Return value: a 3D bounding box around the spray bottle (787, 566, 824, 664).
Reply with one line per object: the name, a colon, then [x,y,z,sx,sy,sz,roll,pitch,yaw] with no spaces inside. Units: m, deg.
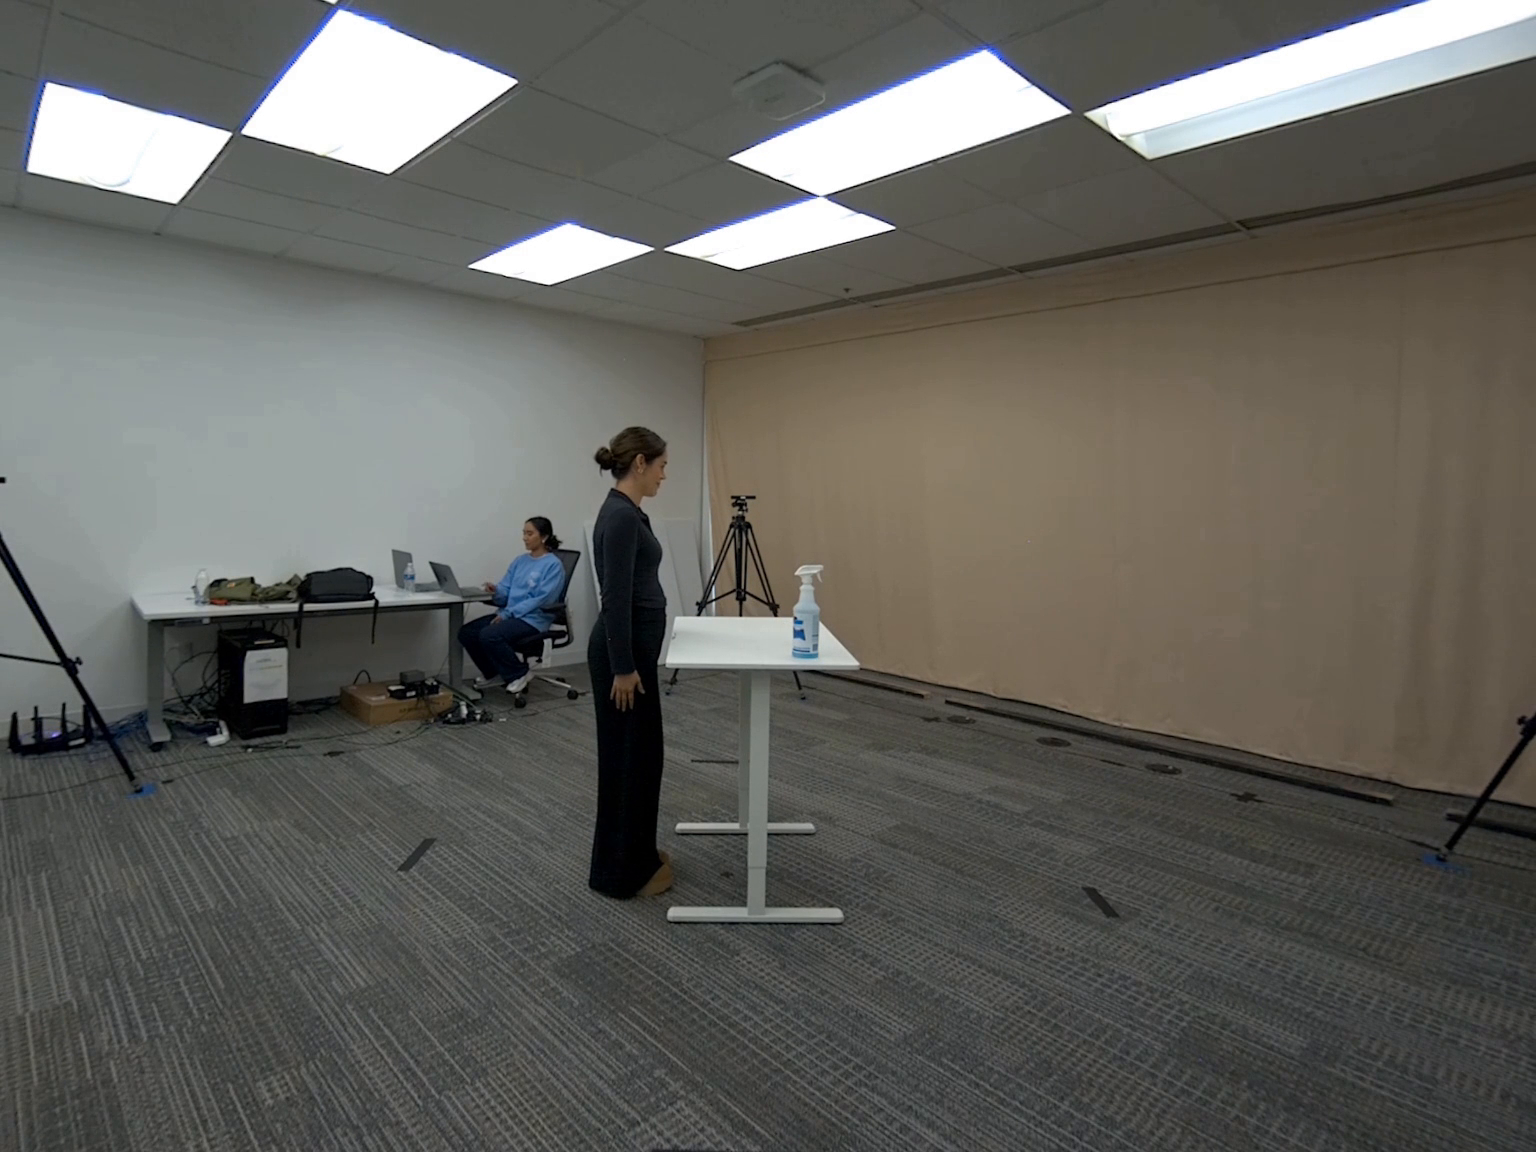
spray bottle: [0.119,0.119,2.709,0.091,0.297,0.086,2,1,16]
